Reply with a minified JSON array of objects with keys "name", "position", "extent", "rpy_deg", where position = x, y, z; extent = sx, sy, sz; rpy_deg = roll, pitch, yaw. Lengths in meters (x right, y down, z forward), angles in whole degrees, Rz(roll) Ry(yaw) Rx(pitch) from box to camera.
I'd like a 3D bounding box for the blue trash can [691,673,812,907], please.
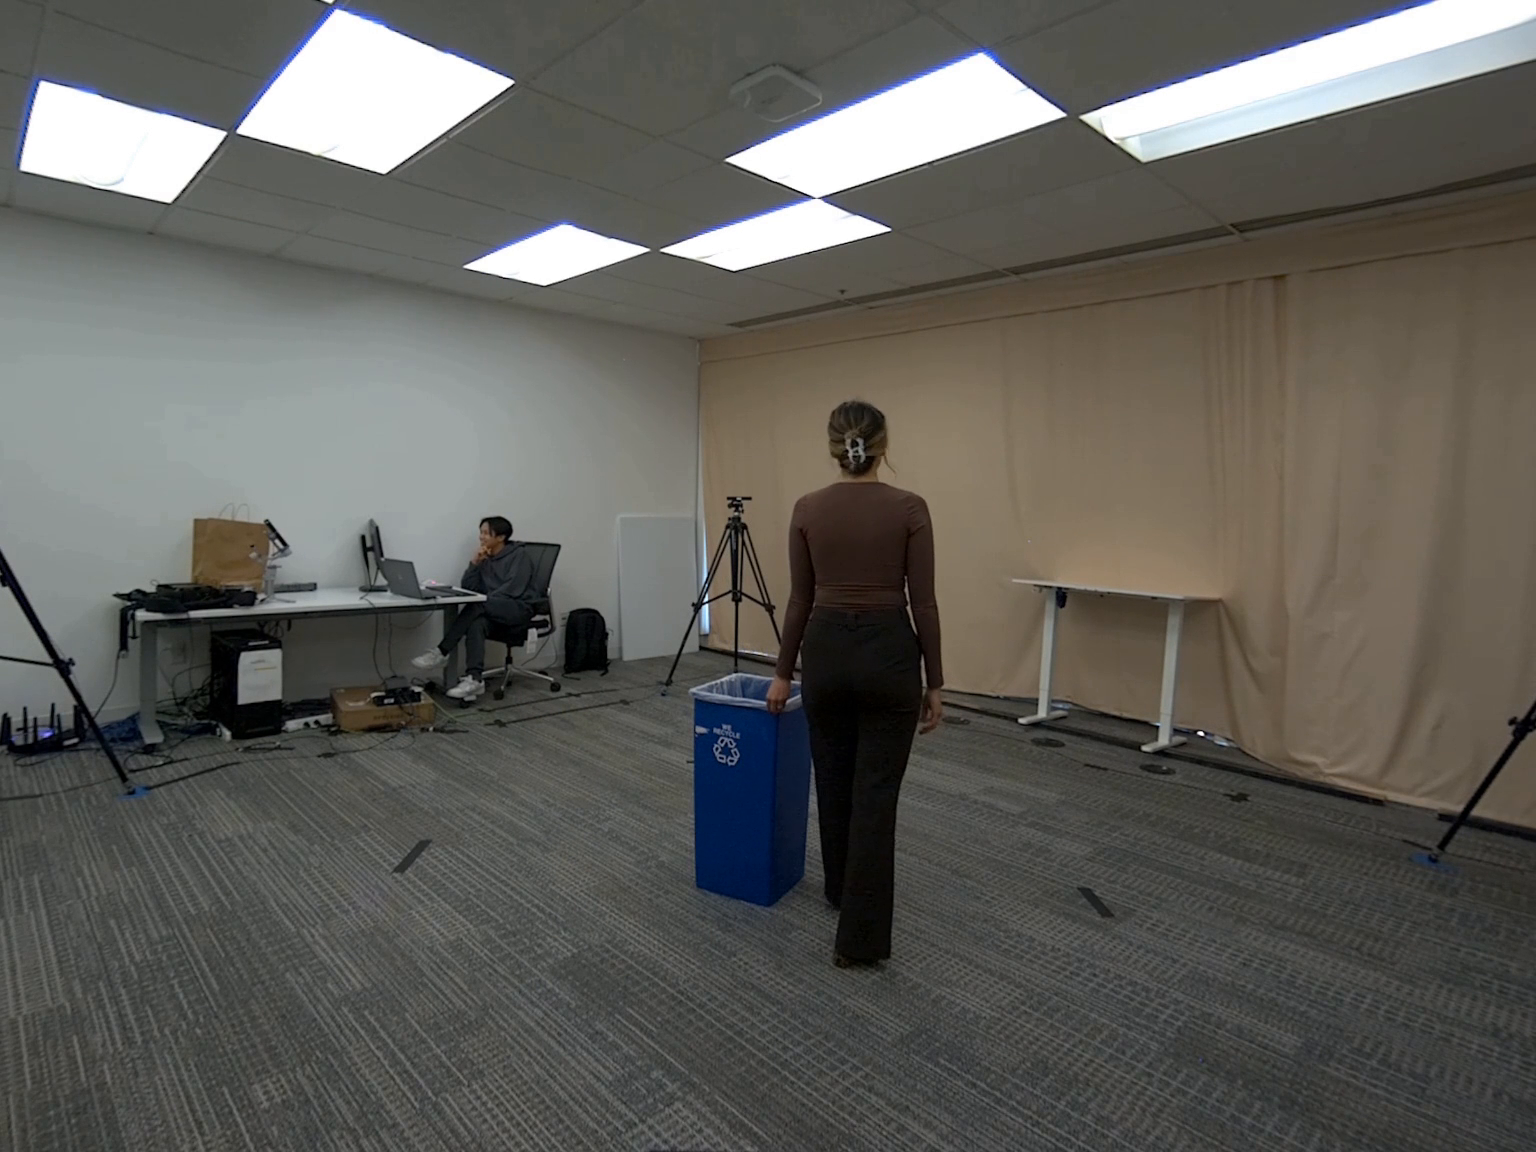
[{"name":"blue trash can","position":[-0.054,0.754,3.047],"extent":[0.382,0.712,0.371],"rpy_deg":[3,4,28]}]
